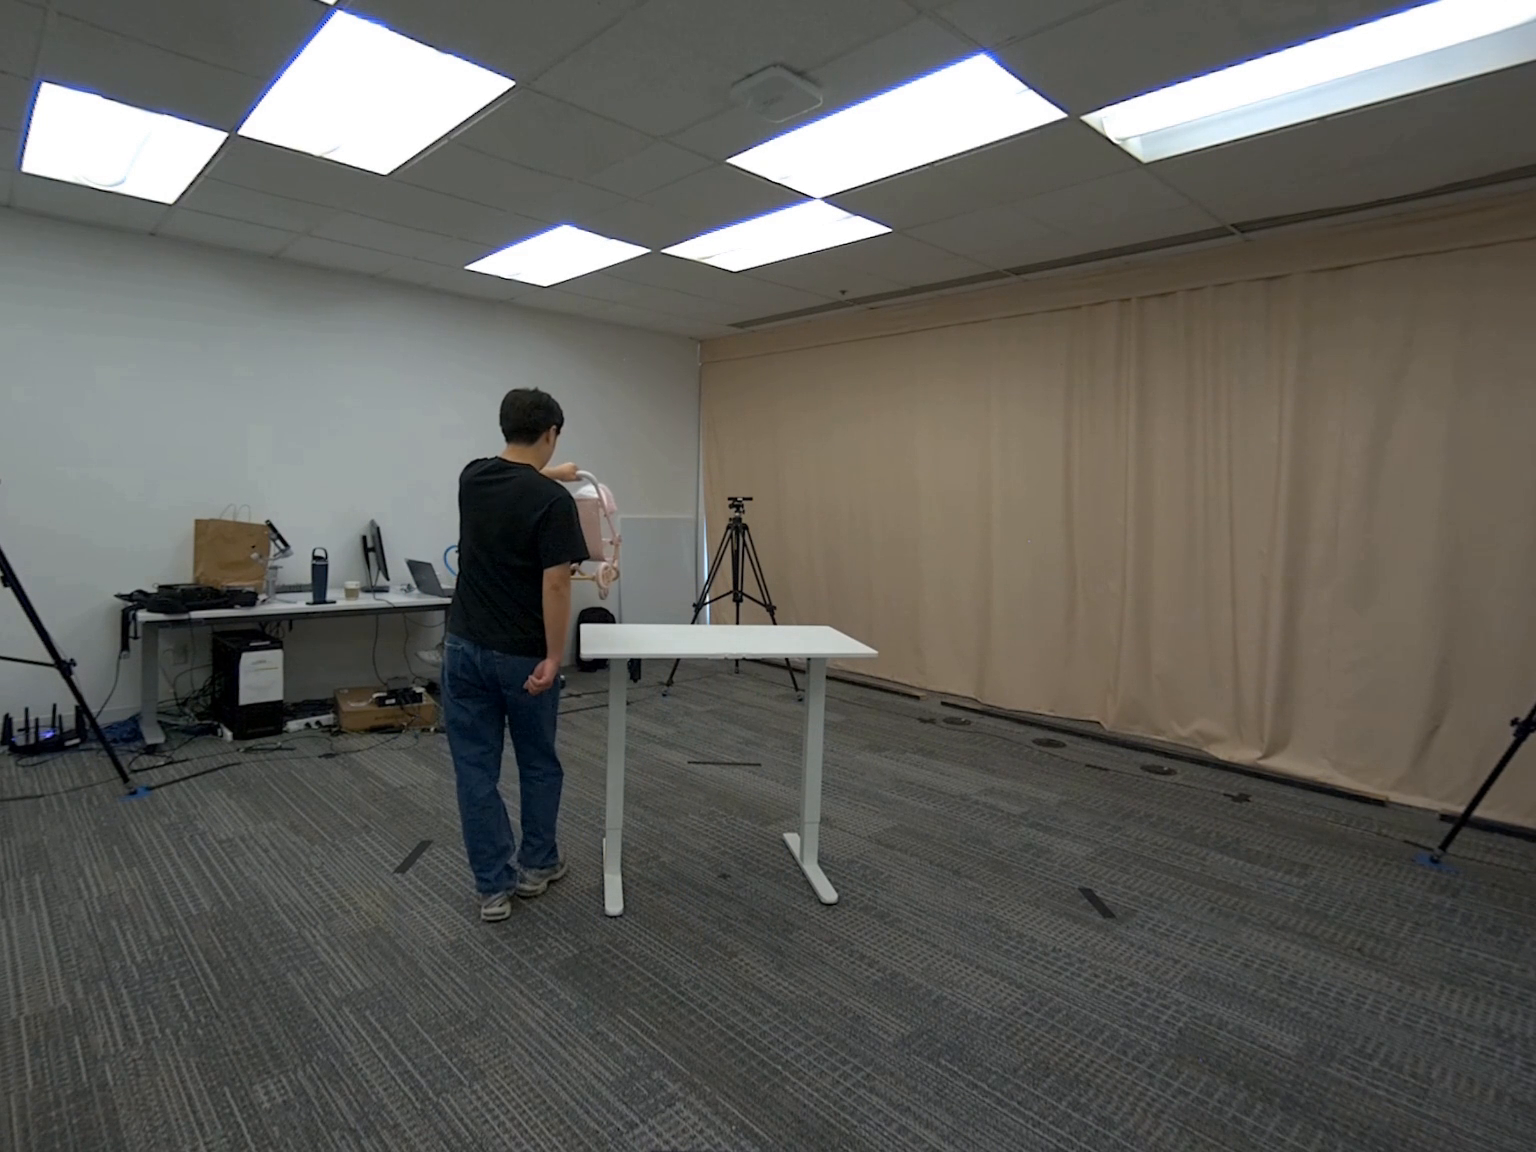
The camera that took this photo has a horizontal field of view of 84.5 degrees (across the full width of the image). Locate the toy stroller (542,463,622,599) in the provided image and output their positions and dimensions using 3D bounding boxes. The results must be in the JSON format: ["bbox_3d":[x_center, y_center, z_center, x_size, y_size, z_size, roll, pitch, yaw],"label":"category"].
[{"bbox_3d":[-0.761,-0.158,3.557,0.286,0.535,0.335,0,-1,21],"label":"toy stroller"}]
